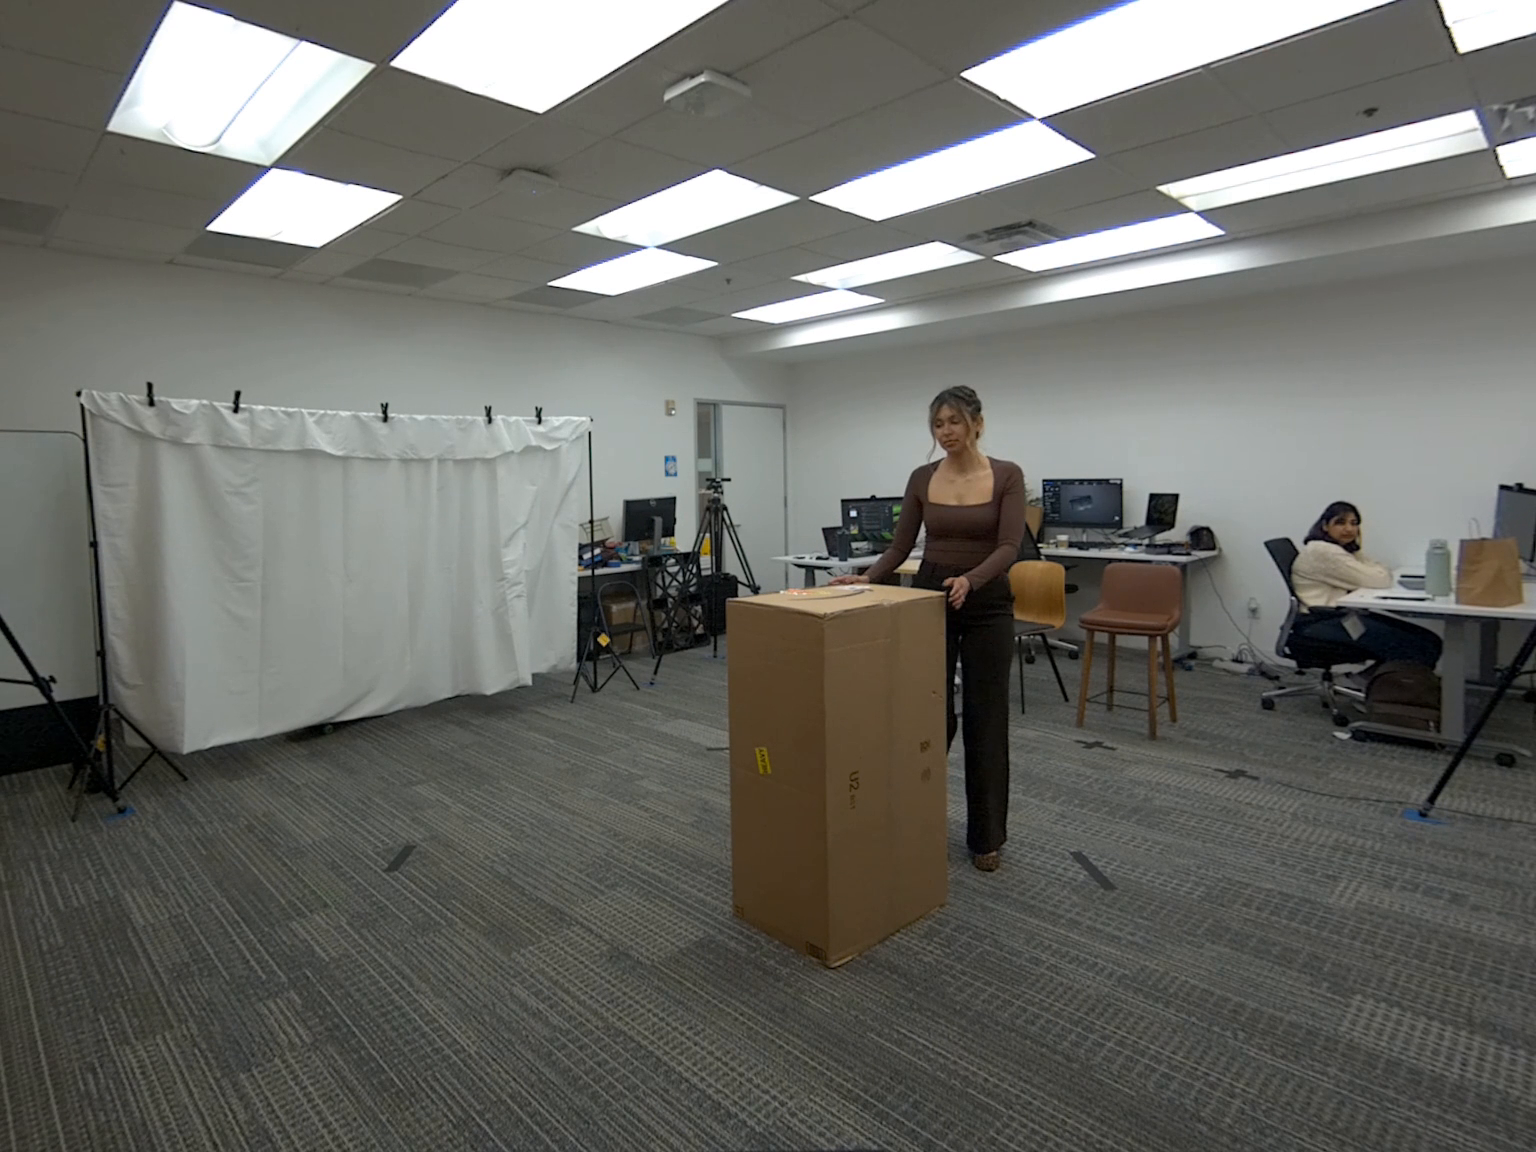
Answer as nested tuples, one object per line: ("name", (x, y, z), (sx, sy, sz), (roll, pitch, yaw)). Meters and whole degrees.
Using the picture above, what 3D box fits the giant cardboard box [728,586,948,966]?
("giant cardboard box", (0.228, 0.572, 2.735), (0.568, 1.024, 0.460), (-4, 4, -41))
